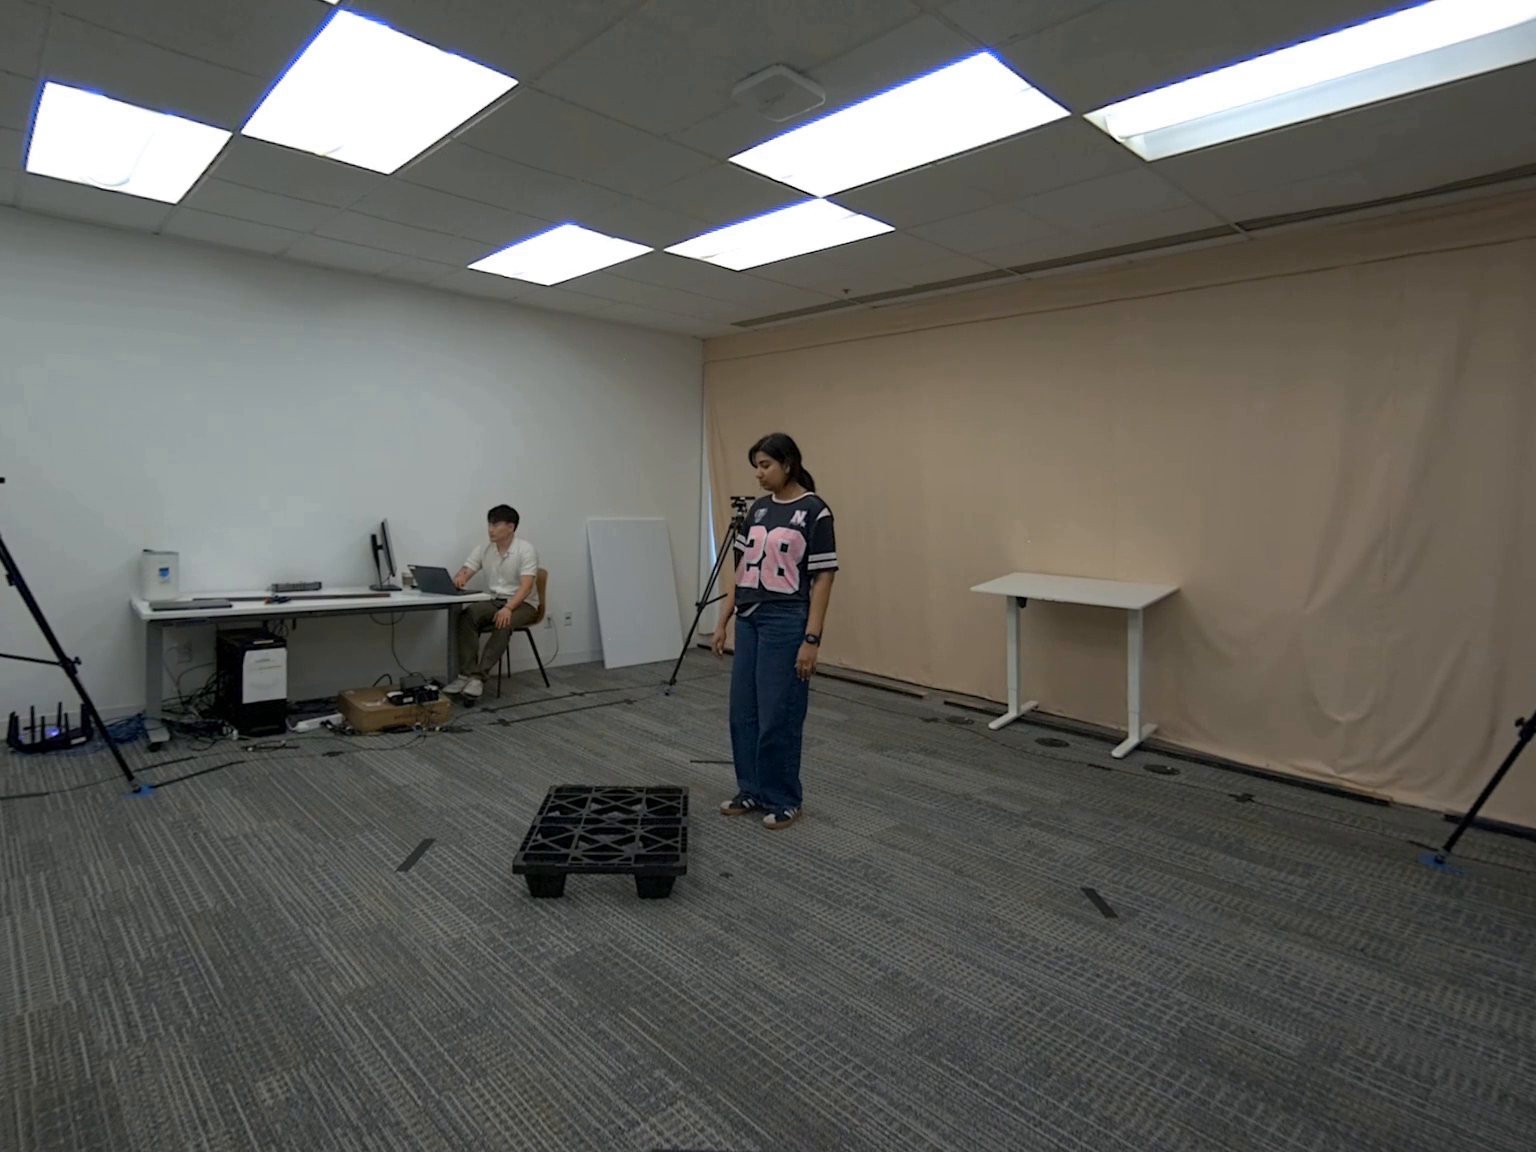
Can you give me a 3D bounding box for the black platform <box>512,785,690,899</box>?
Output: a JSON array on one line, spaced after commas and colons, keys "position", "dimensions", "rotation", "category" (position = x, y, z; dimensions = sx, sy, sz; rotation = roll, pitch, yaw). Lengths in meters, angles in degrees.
[{"position": [-0.614, 1.012, 3.265], "dimensions": [0.603, 0.143, 0.810], "rotation": [2, 5, -4], "category": "black platform"}]
